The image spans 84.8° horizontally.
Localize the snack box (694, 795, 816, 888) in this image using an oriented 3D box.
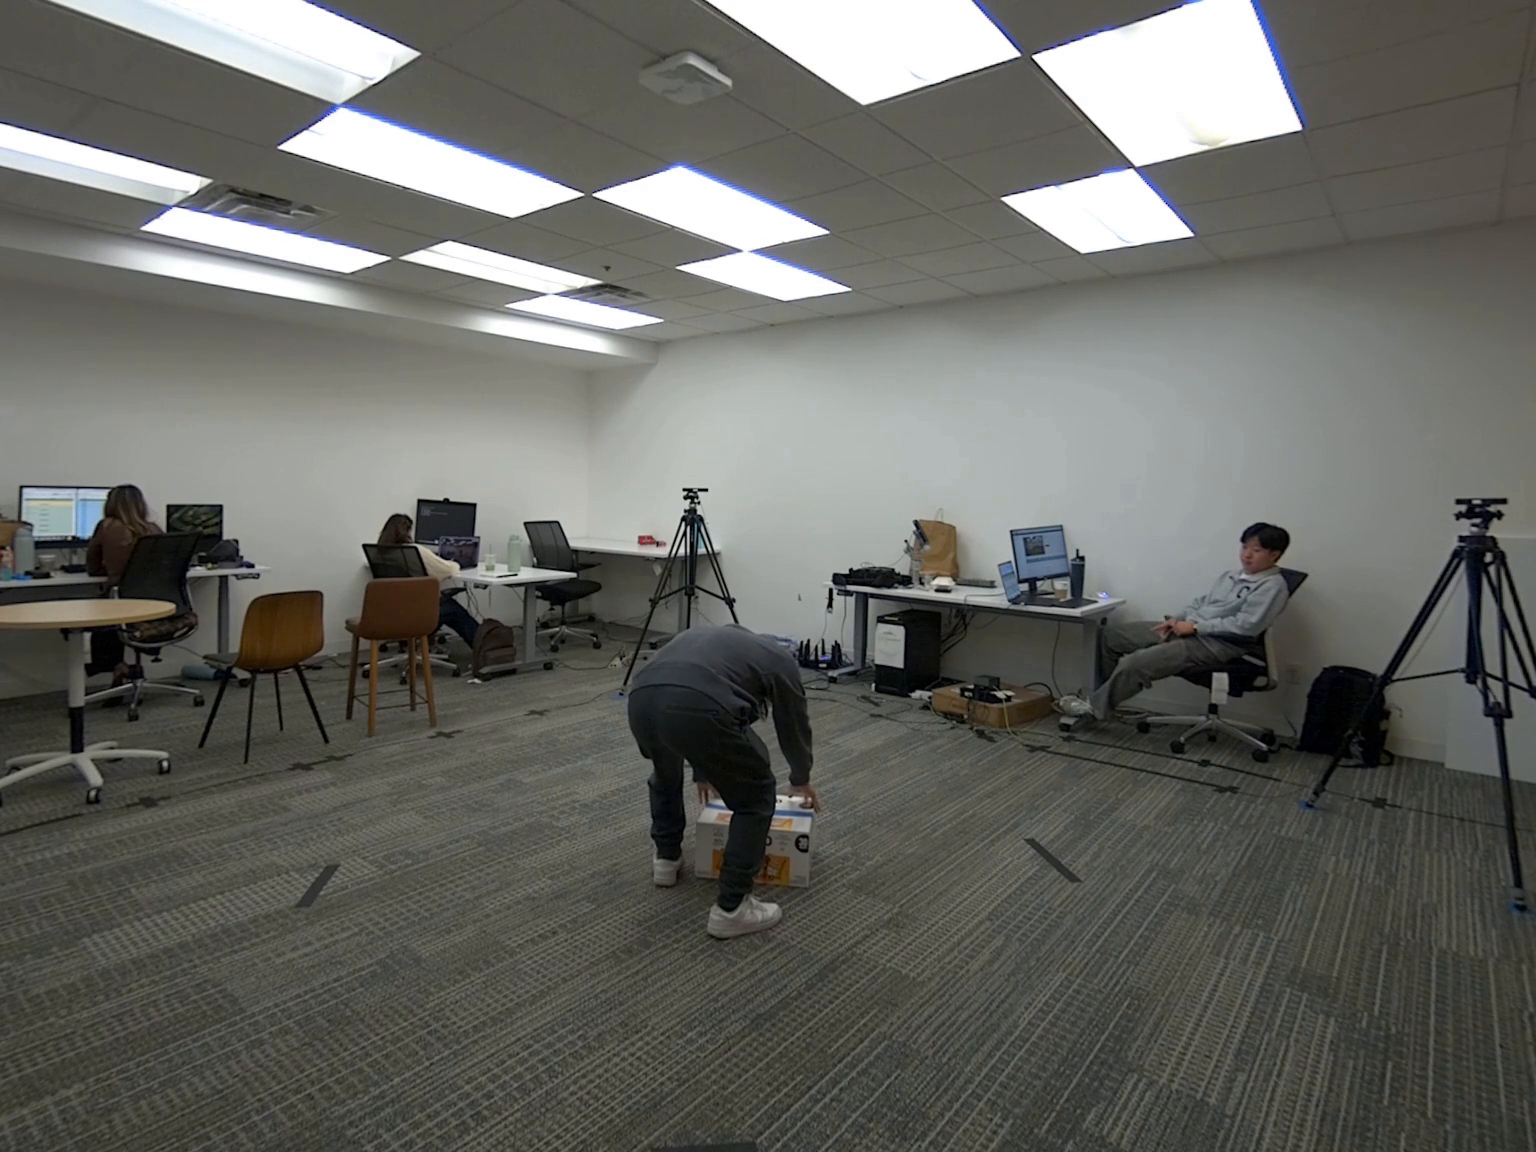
[{"bbox_3d":[-0.046,0.969,3.167,0.410,0.205,0.338,2,5,9],"label":"snack box"}]
